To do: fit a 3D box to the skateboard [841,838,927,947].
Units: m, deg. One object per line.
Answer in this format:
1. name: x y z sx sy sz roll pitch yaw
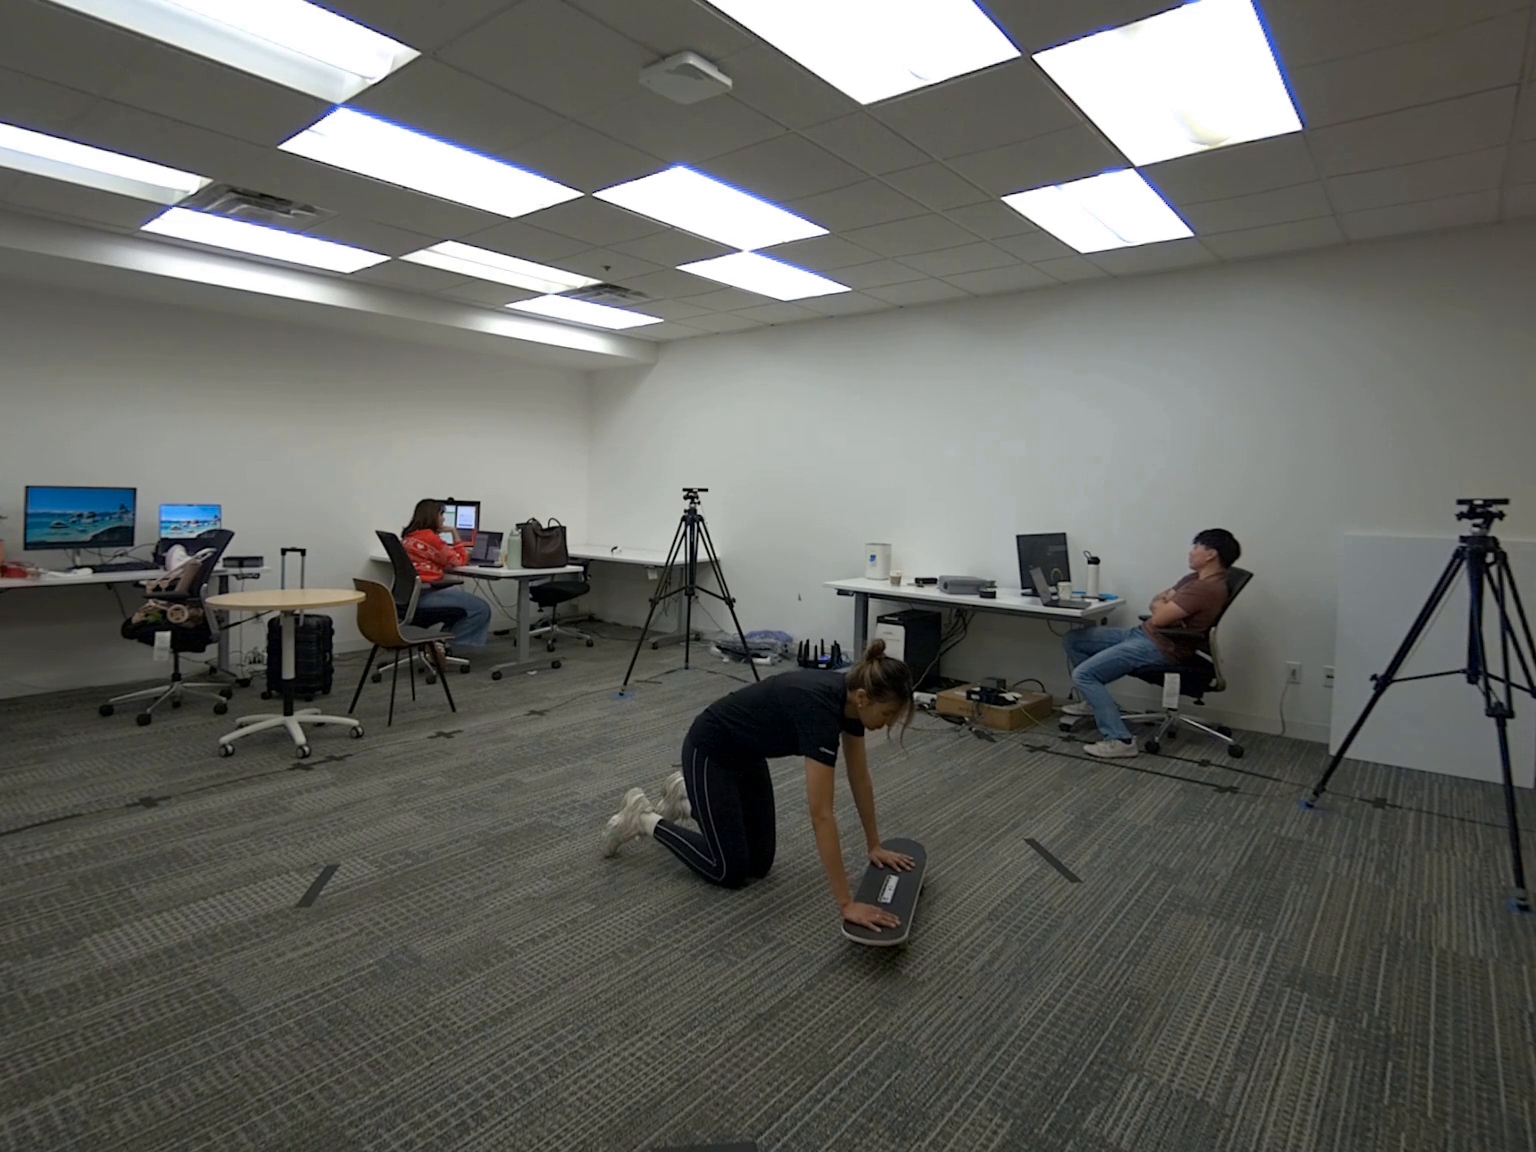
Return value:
1. skateboard: 0.387 1.058 2.798 0.197 0.110 0.773 1 5 17
